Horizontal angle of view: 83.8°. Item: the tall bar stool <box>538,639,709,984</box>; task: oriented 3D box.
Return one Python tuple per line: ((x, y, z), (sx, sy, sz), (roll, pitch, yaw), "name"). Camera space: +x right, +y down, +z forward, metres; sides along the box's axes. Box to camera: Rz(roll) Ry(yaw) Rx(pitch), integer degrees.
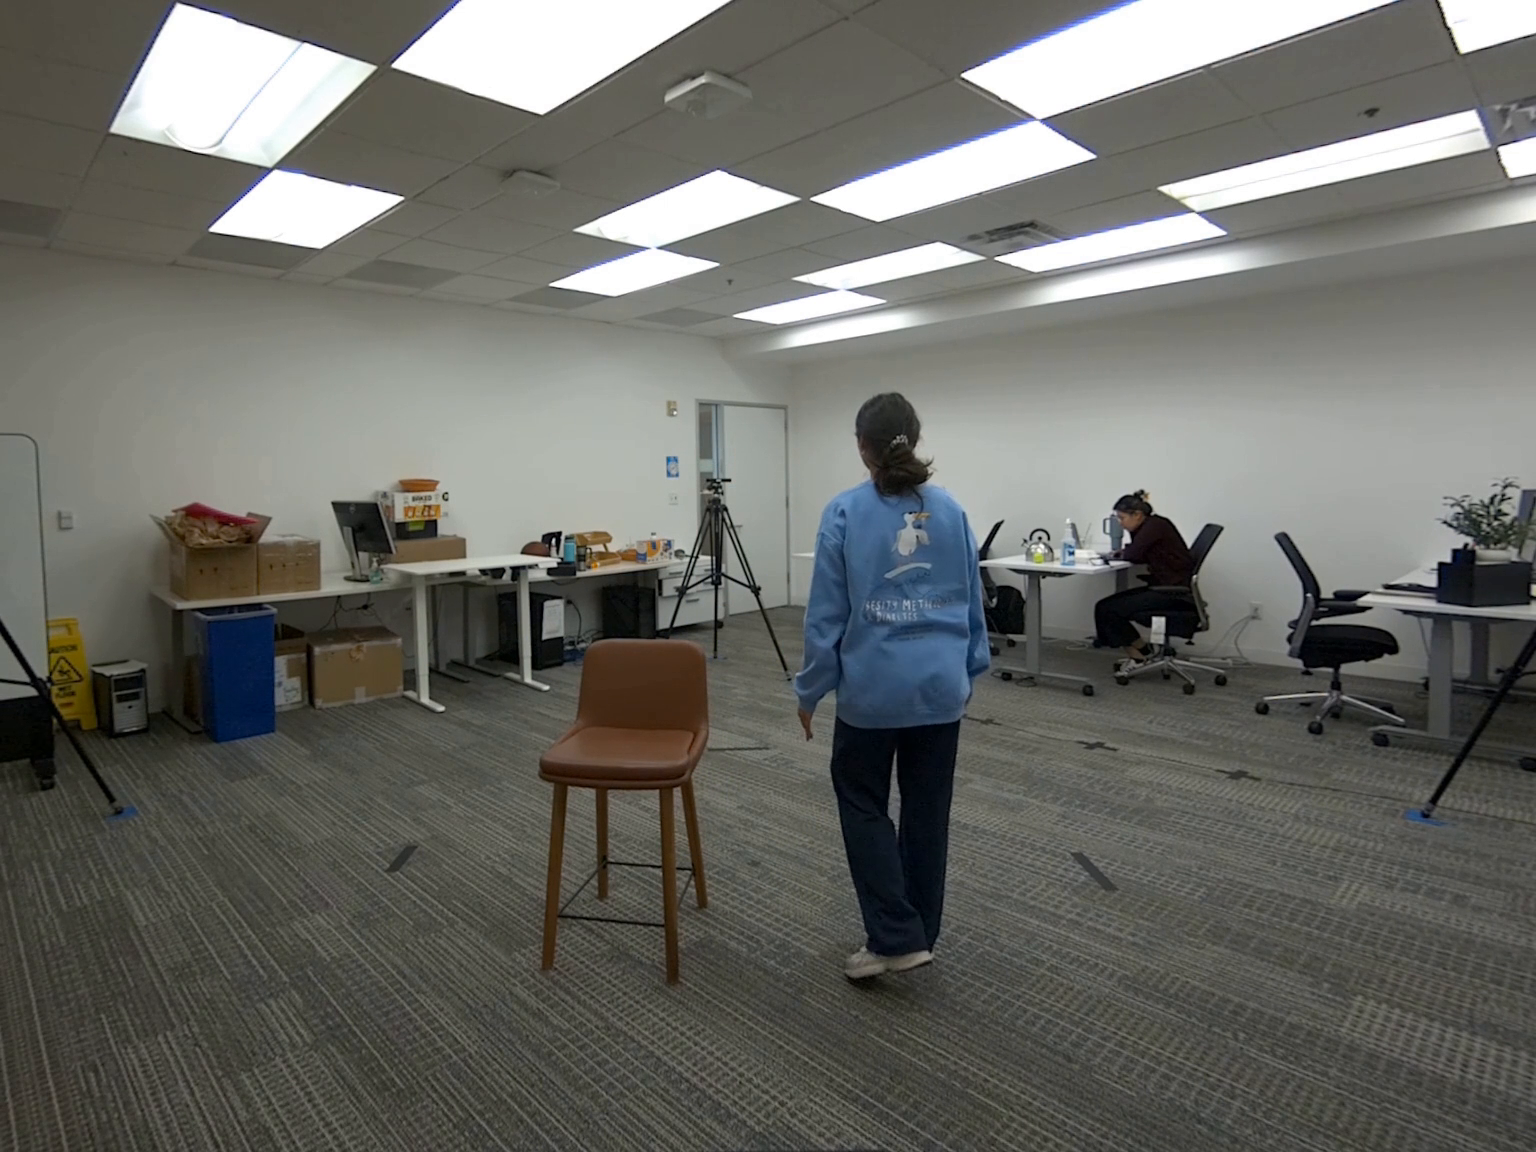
((-0.422, 0.677, 2.608), (0.462, 0.887, 0.463), (0, 4, 12), "tall bar stool")
